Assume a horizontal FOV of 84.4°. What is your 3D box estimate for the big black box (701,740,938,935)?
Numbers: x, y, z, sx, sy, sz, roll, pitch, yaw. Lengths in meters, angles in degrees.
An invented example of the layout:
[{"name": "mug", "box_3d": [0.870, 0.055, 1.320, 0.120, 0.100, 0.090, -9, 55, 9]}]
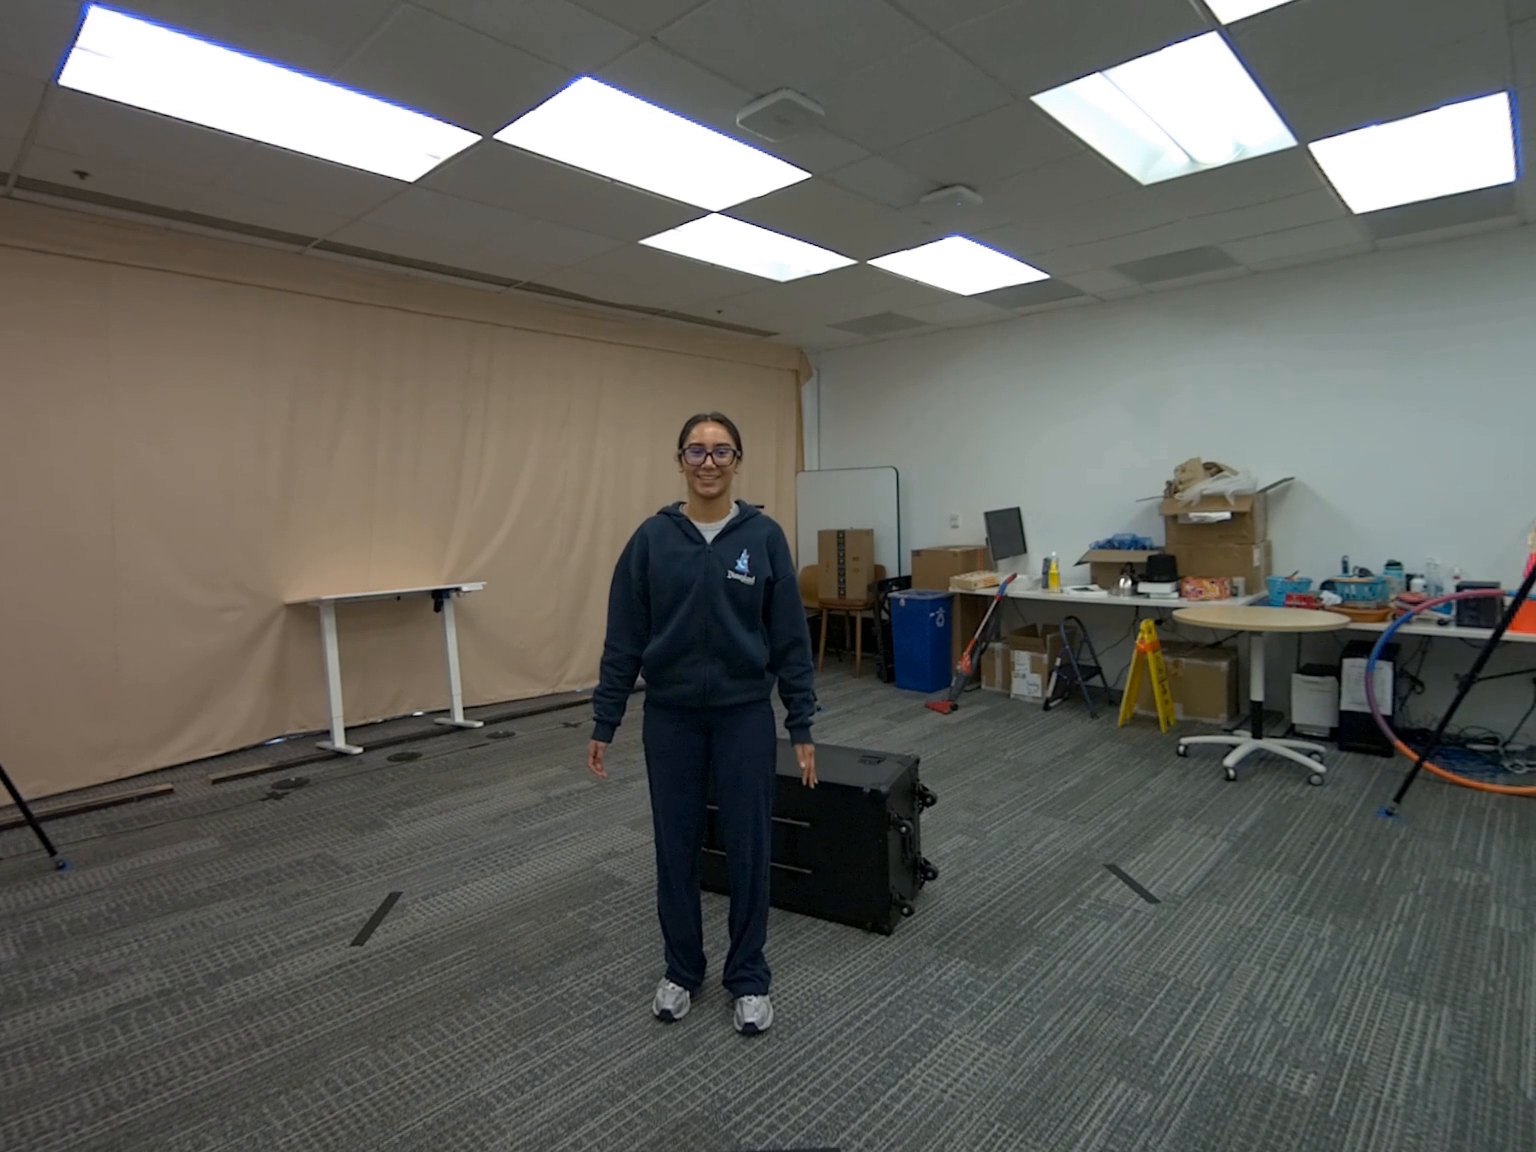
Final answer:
[{"name": "big black box", "box_3d": [0.138, 0.881, 2.996, 0.885, 0.519, 0.387, 1, 6, 29]}]
